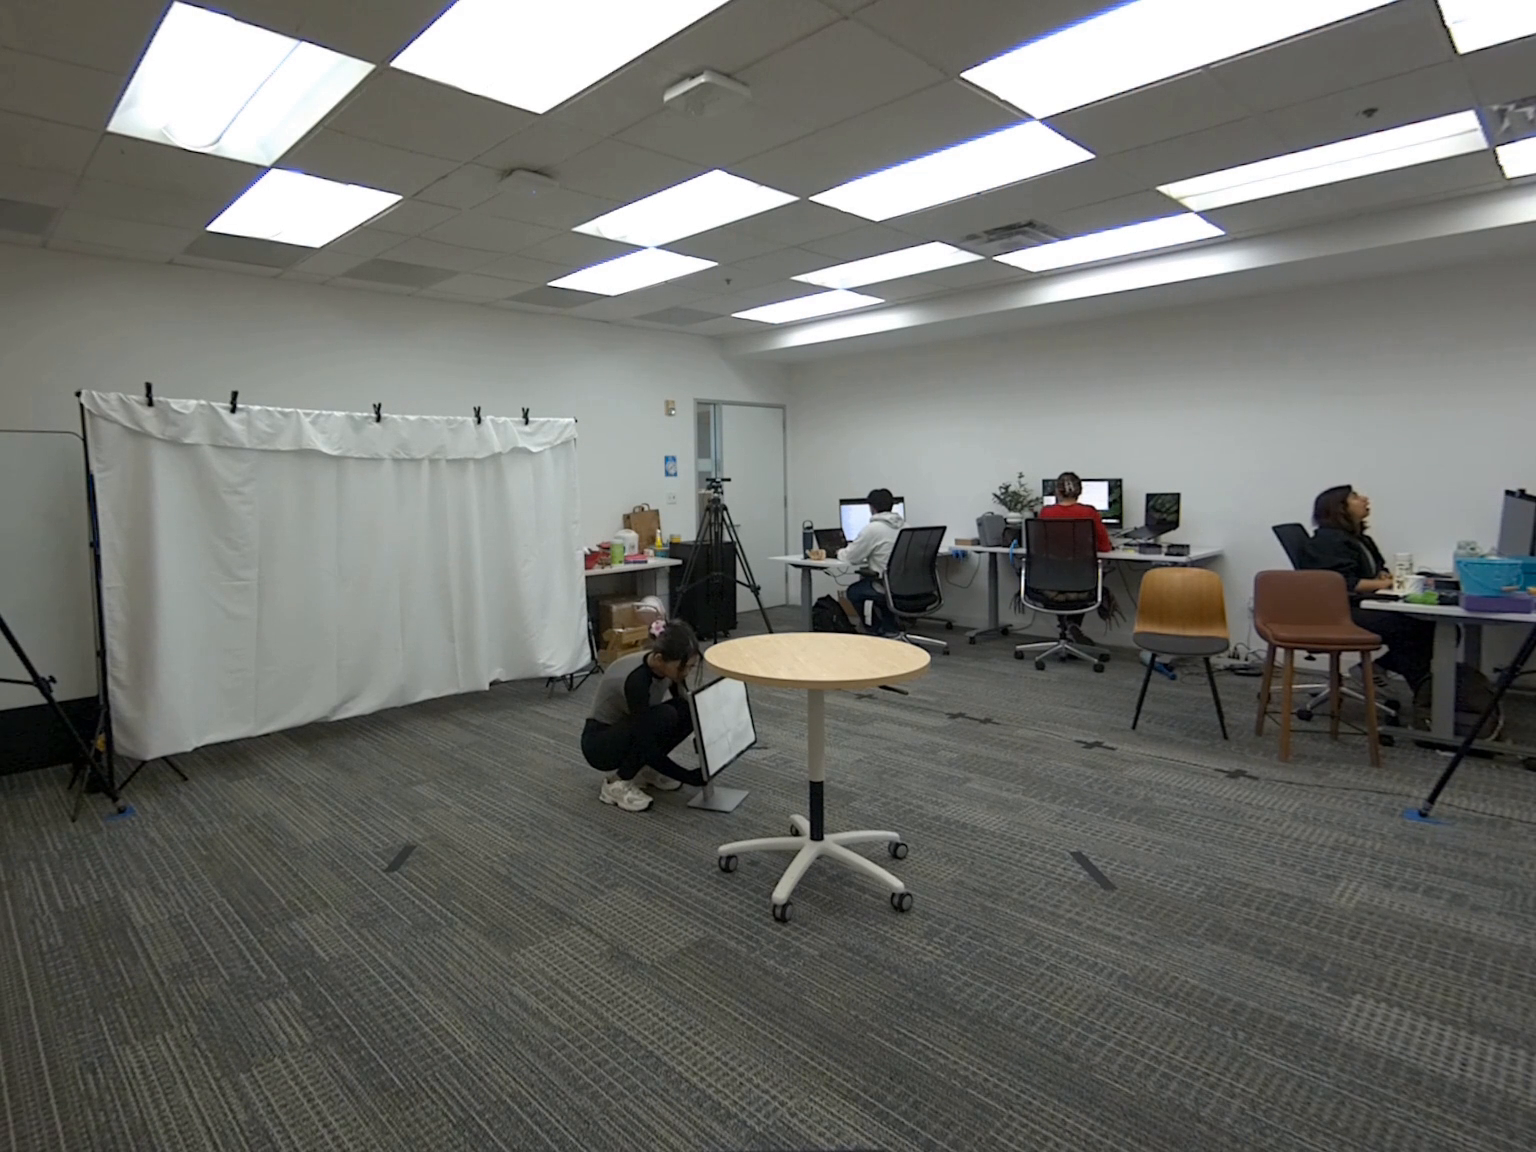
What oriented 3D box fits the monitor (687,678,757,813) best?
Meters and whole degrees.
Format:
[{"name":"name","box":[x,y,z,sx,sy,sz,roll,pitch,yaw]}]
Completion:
[{"name":"monitor","box":[-0.220,0.709,3.698,0.191,0.521,0.530,1,4,19]}]
